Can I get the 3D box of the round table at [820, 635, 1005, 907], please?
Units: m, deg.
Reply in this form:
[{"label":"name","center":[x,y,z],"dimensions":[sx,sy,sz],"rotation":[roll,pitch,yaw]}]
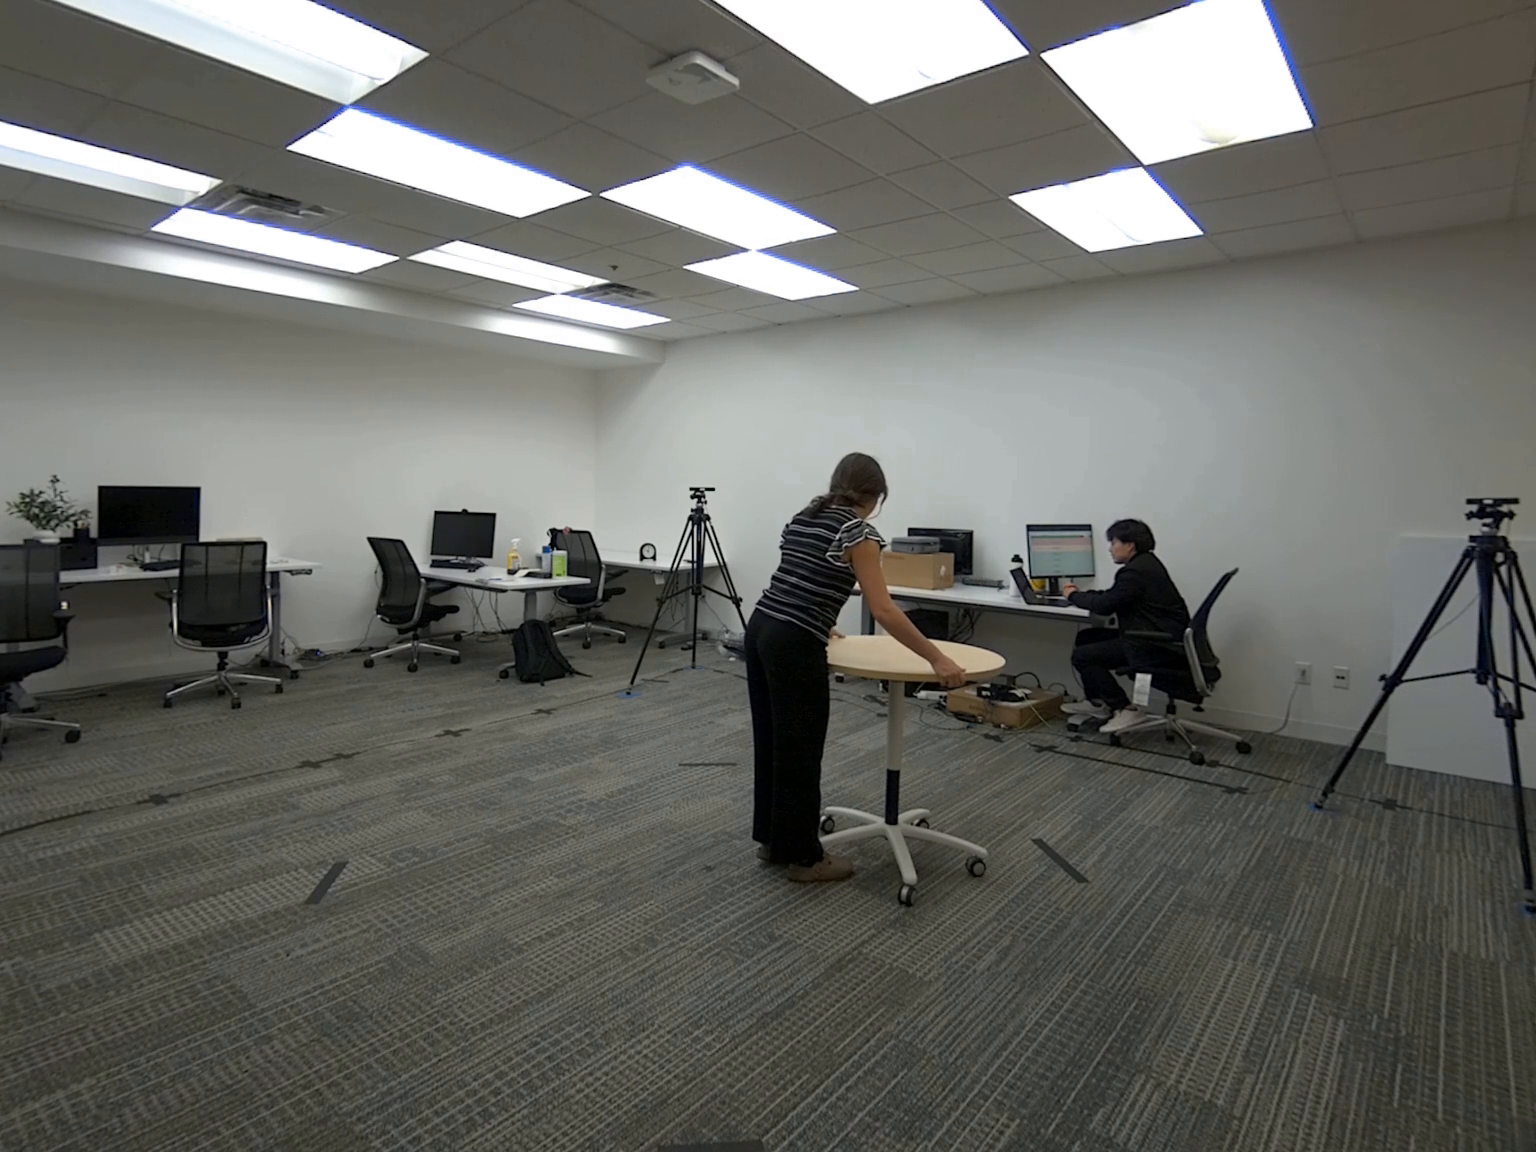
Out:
[{"label":"round table","center":[0.469,0.682,3.202],"dimensions":[0.763,0.791,0.768],"rotation":[2,4,-2]}]
